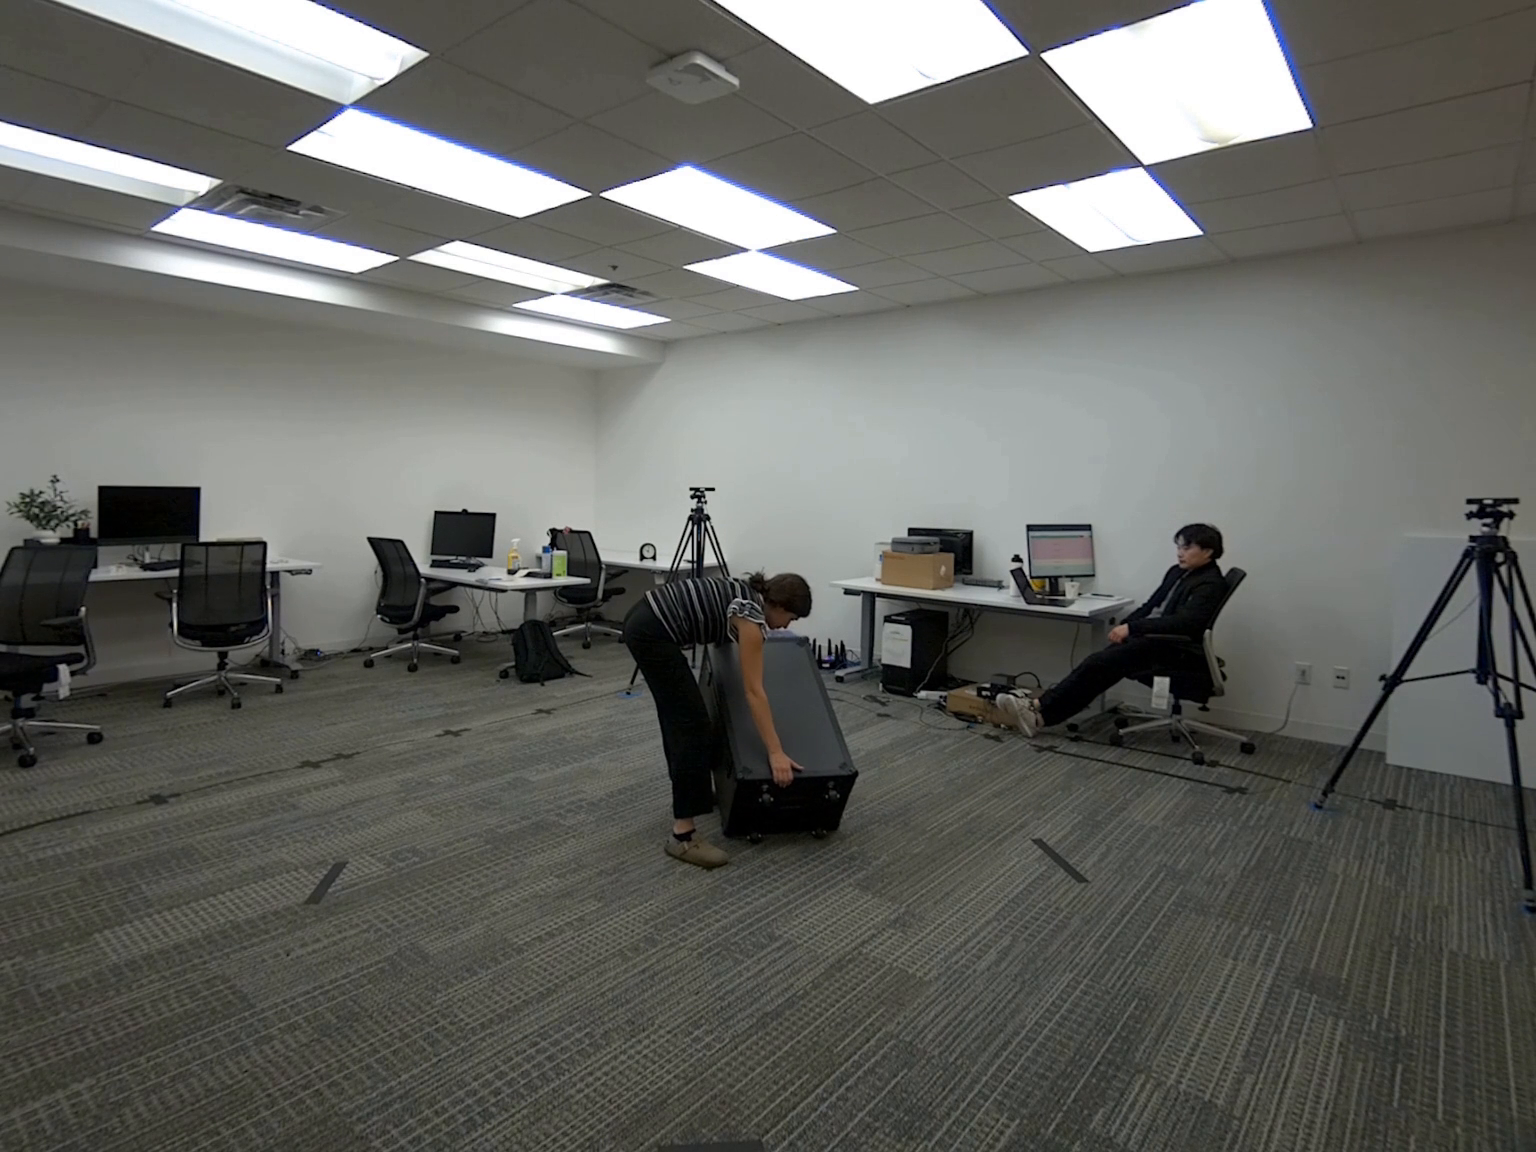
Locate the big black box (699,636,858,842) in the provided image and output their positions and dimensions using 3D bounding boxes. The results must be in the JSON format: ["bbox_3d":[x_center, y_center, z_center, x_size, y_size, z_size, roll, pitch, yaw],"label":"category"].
[{"bbox_3d":[0.008,0.686,3.635,0.514,0.387,0.893,-2,38,-14],"label":"big black box"}]
